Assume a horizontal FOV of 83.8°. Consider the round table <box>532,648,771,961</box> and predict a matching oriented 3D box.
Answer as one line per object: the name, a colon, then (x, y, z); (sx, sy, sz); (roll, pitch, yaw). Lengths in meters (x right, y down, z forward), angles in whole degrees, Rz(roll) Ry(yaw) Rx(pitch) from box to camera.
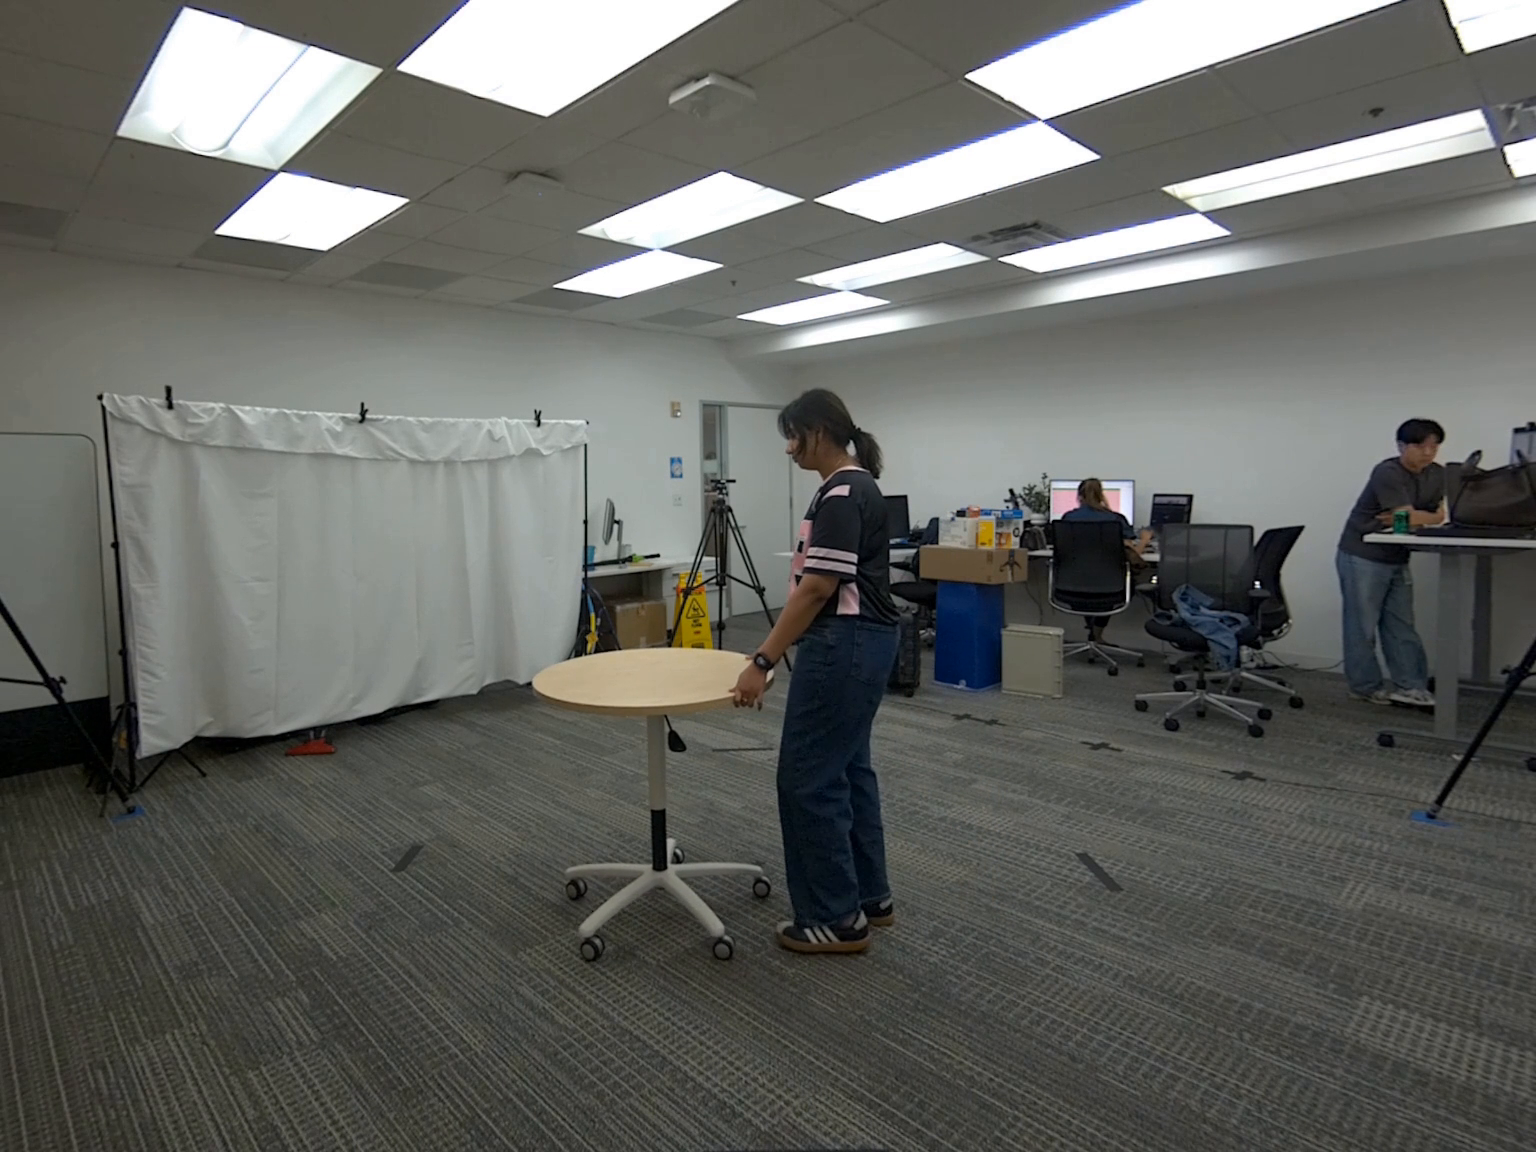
round table: (-0.352, 0.703, 2.764); (0.763, 0.790, 0.768); (-1, 6, -2)
